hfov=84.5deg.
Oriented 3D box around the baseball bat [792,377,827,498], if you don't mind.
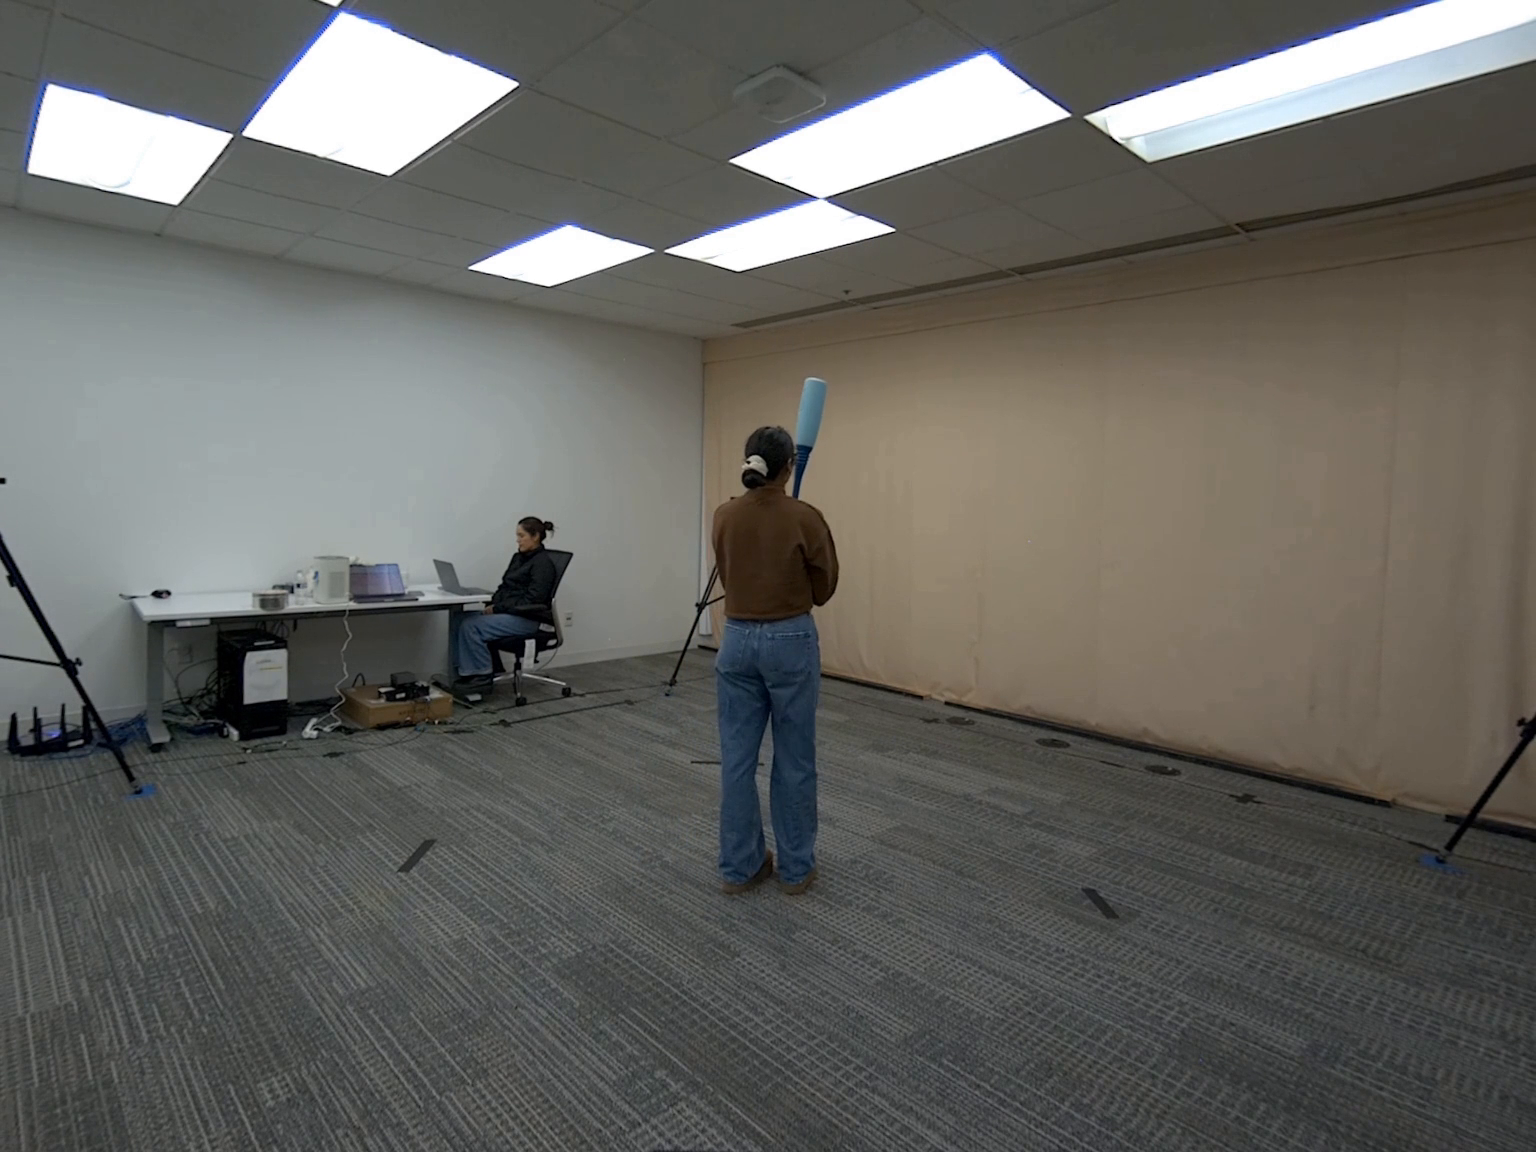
[{"bbox_3d":[0.128,-0.465,3.126,0.089,0.542,0.089,11,3,-2],"label":"baseball bat"}]
